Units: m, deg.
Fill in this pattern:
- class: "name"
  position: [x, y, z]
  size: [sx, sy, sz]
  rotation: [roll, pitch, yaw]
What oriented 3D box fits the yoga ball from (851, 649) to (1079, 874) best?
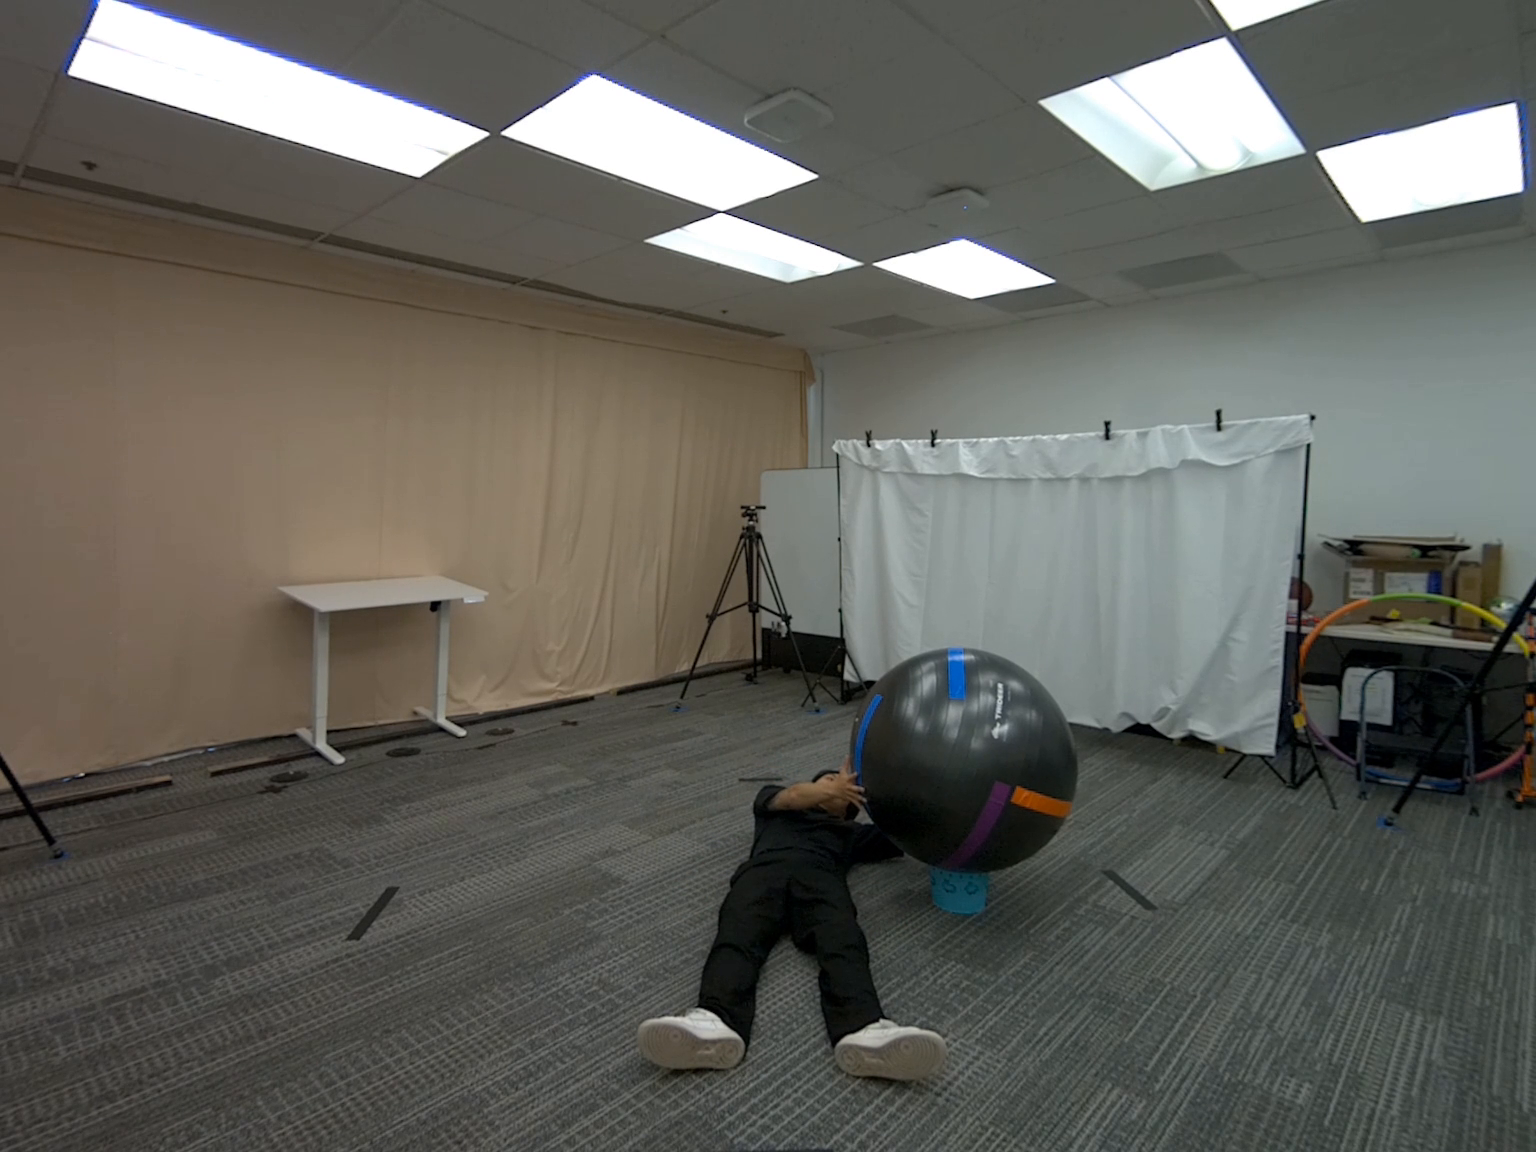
- class: "yoga ball"
  position: [0.672, 0.639, 2.932]
  size: [0.757, 0.756, 0.760]
  rotation: [0, 4, -2]
